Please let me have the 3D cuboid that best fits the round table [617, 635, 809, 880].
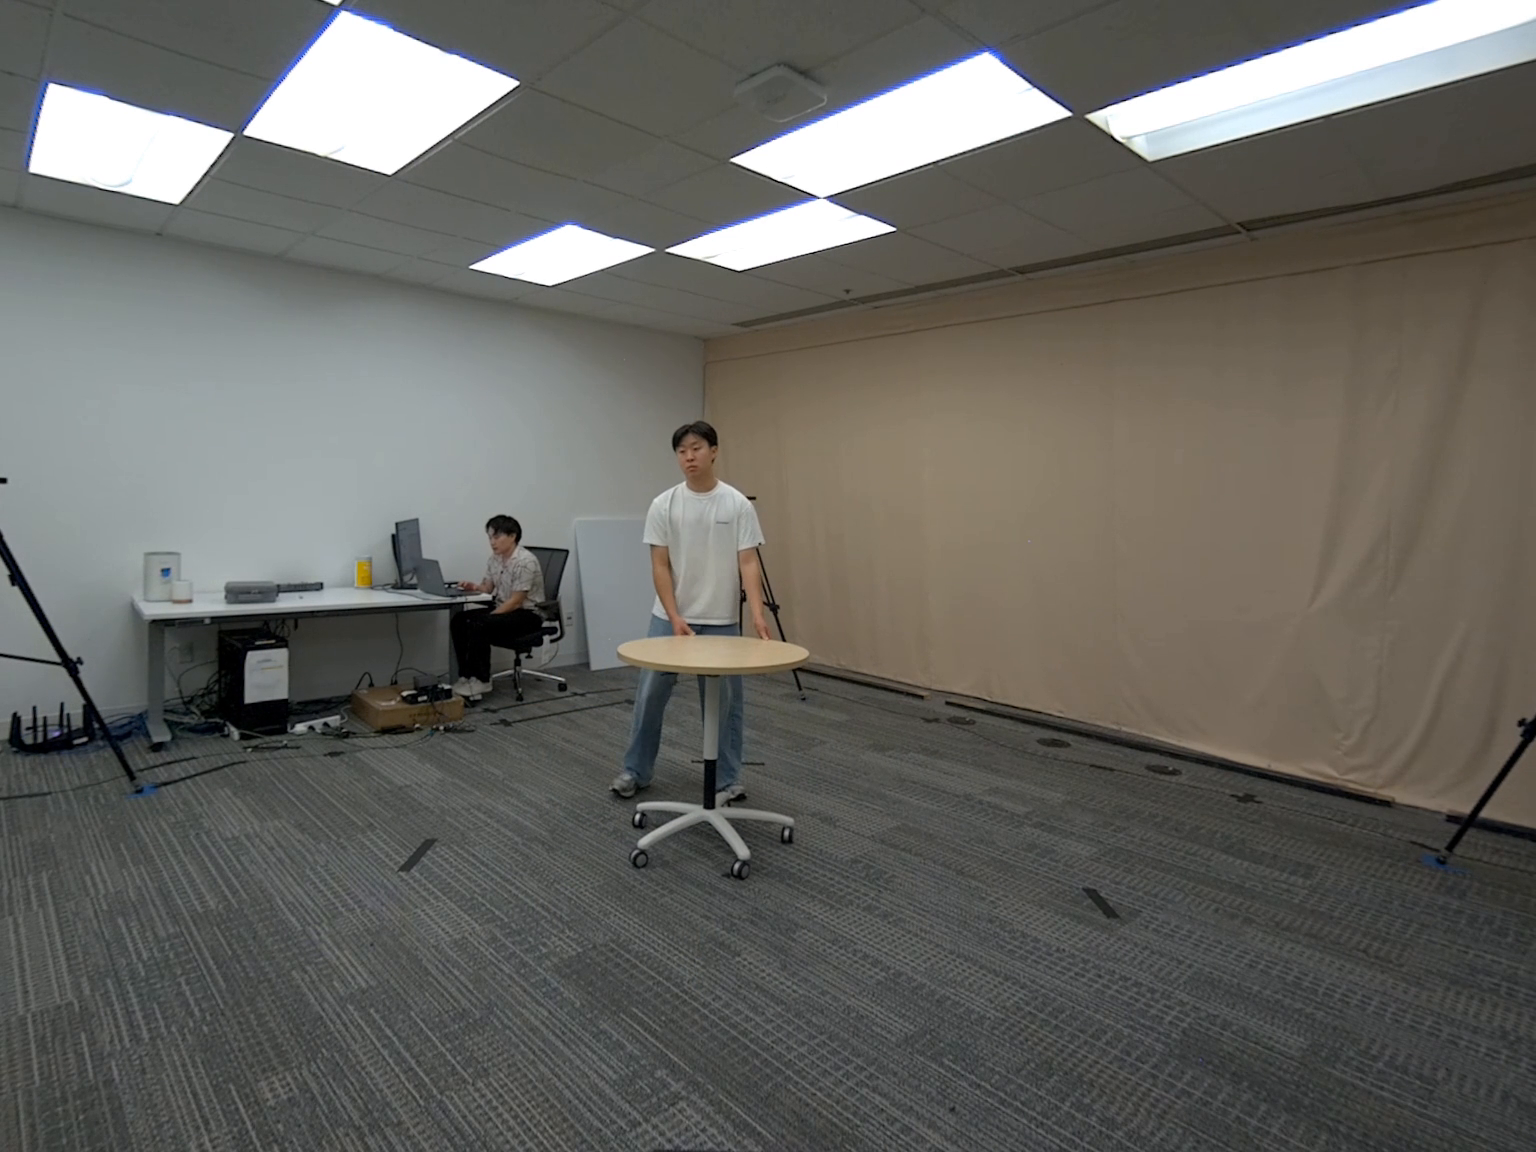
[{"bbox_3d":[-0.237,0.692,3.382,0.763,0.792,0.766,1,3,-1],"label":"round table"}]
